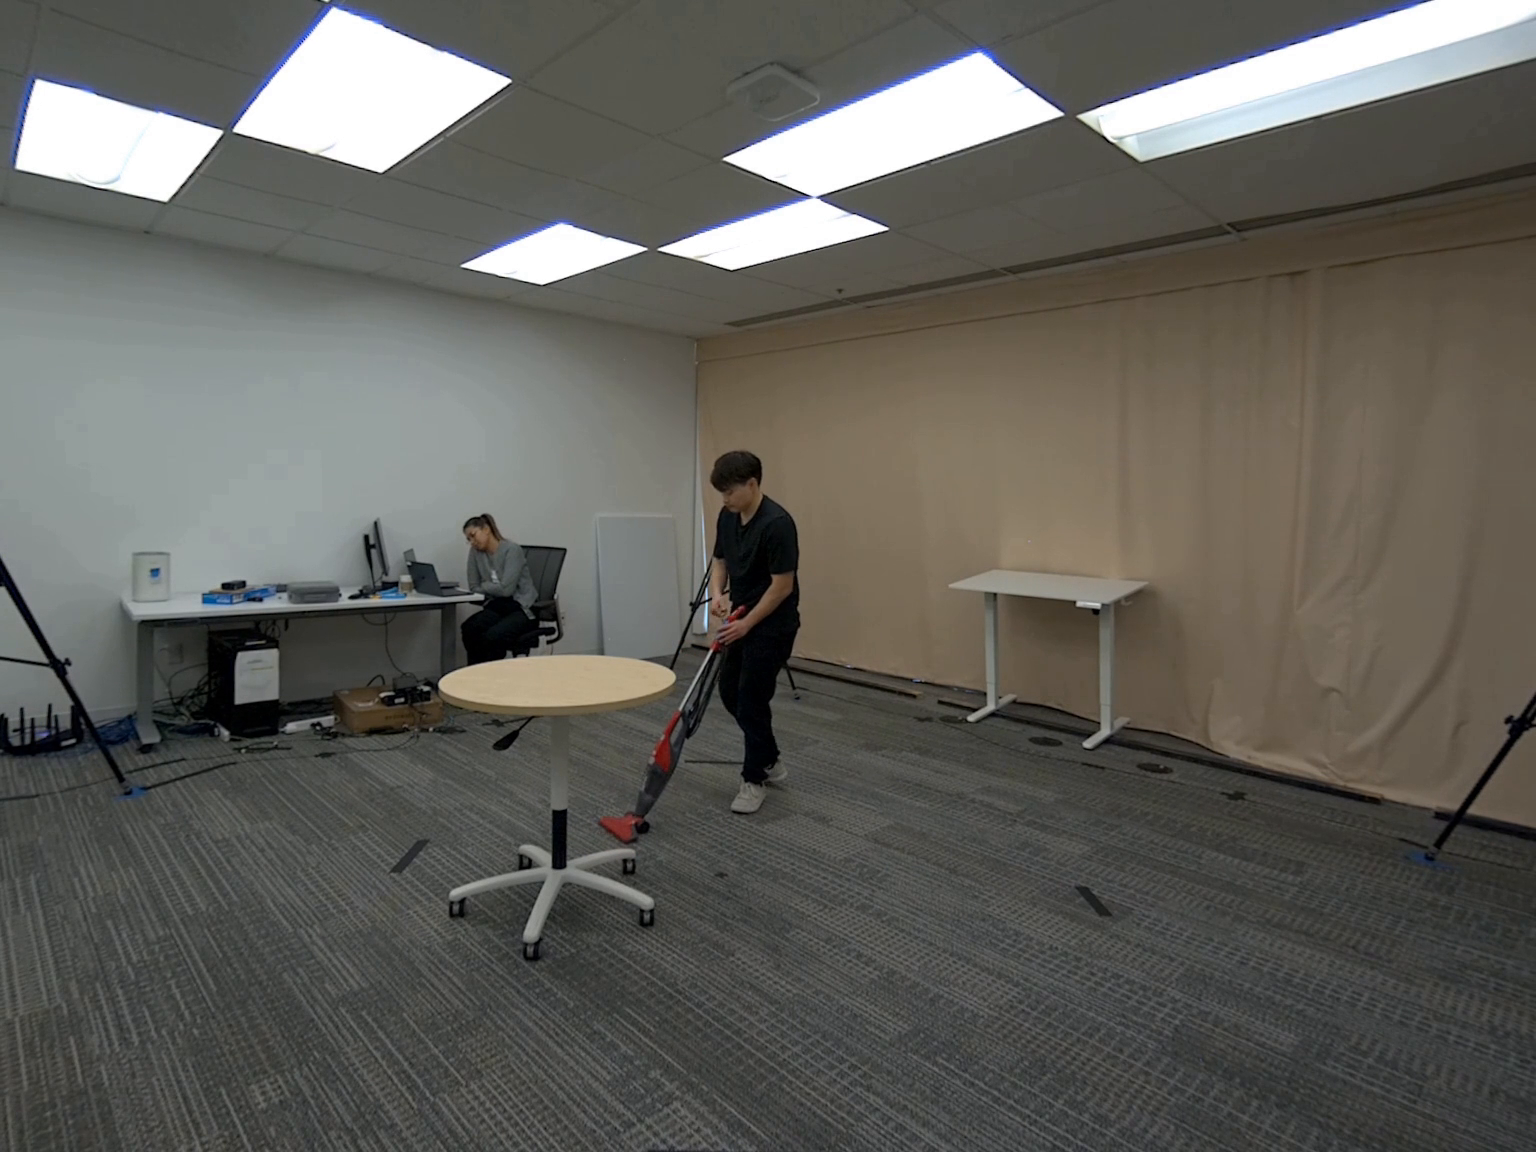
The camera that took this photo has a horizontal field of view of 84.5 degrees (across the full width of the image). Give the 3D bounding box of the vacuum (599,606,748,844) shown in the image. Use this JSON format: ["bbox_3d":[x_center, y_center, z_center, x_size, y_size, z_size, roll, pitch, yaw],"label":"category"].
[{"bbox_3d":[-0.364,0.612,3.628,0.259,1.053,0.139,11,-23,47],"label":"vacuum"}]
